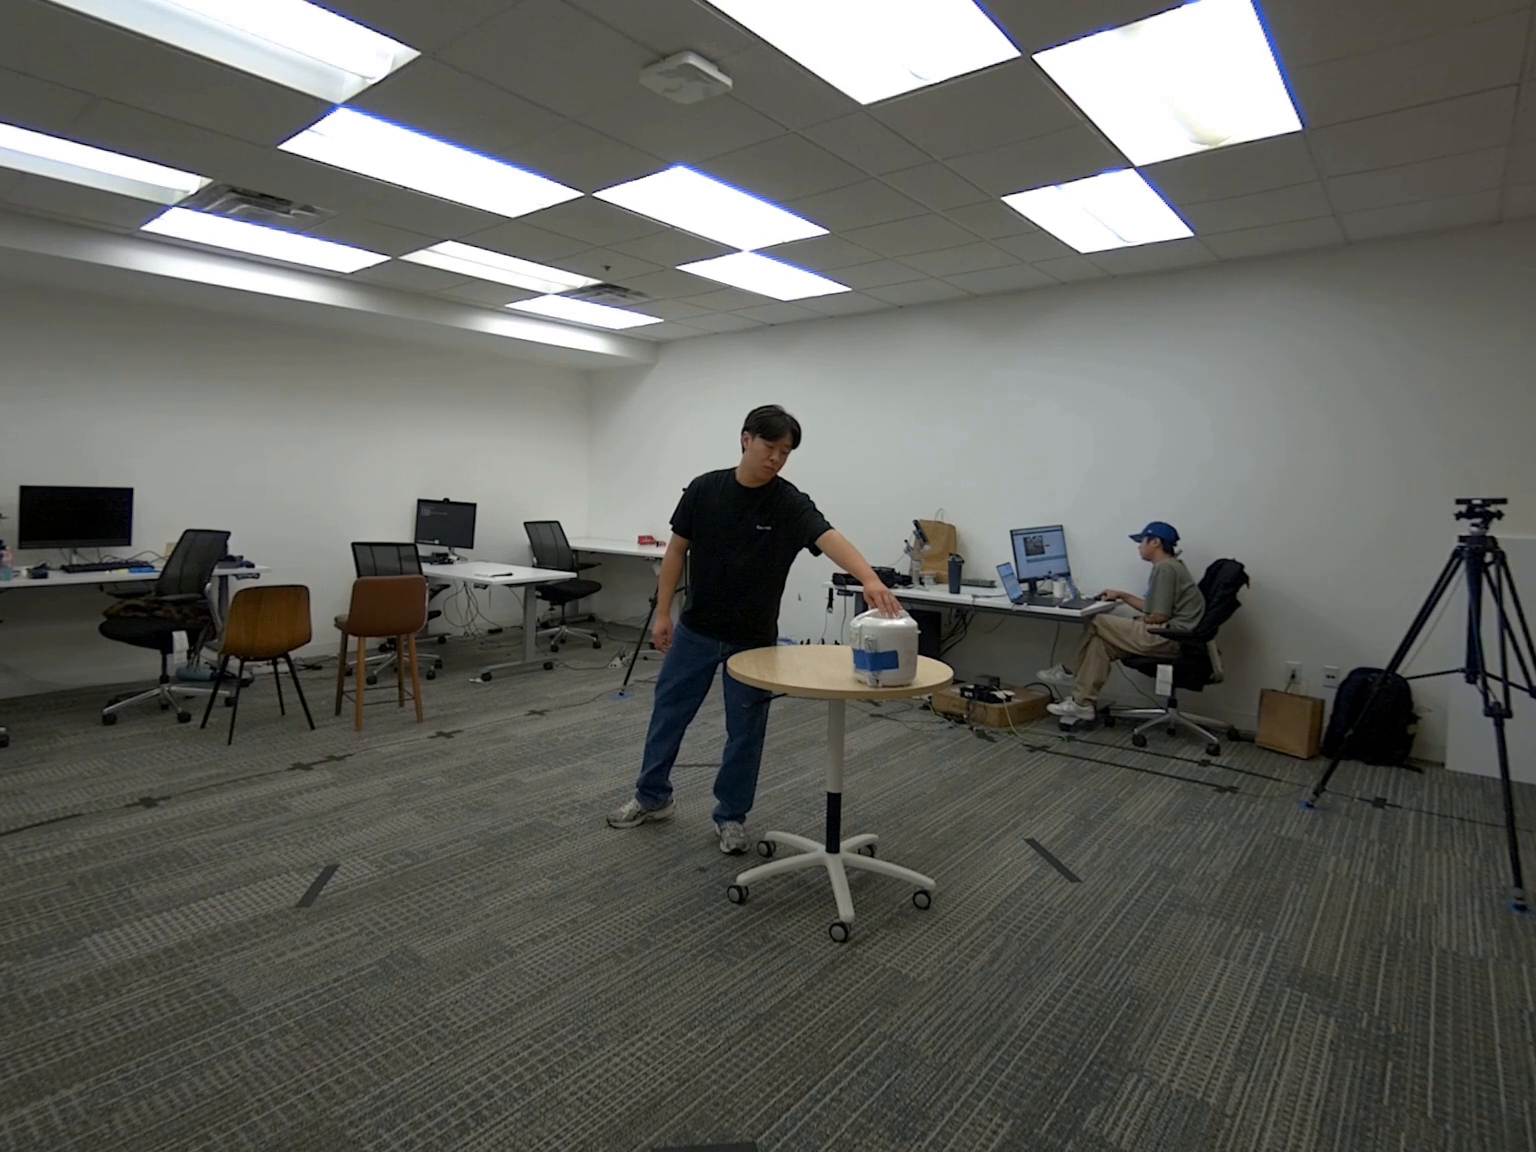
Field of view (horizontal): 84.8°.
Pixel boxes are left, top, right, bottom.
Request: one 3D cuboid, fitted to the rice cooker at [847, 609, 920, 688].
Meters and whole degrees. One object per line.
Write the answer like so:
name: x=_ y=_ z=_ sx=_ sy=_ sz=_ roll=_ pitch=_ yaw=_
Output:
rice cooker: x=0.361 y=0.213 z=2.679 sx=0.217 sy=0.232 sz=0.222 roll=0 pitch=5 yaw=-17
